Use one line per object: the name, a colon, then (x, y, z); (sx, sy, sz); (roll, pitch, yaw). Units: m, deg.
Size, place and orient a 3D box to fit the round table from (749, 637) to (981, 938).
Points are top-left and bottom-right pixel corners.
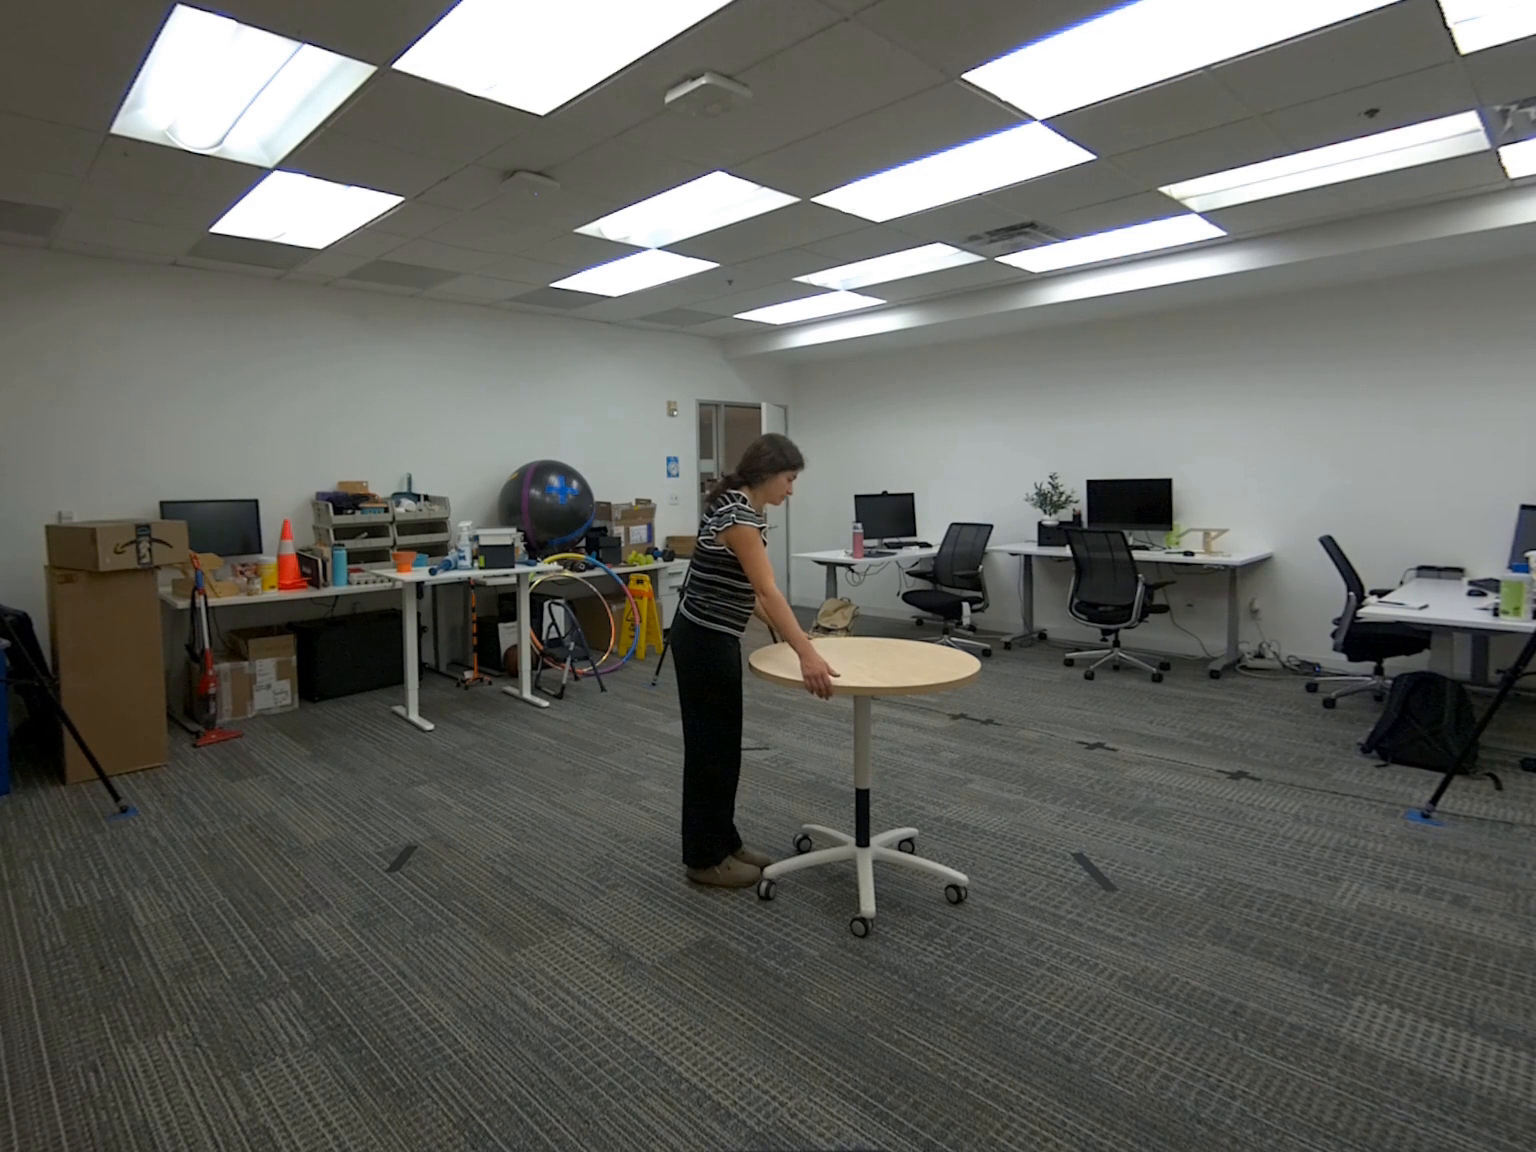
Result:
round table: (0.316, 0.669, 2.898); (0.763, 0.791, 0.768); (-1, 5, -2)
